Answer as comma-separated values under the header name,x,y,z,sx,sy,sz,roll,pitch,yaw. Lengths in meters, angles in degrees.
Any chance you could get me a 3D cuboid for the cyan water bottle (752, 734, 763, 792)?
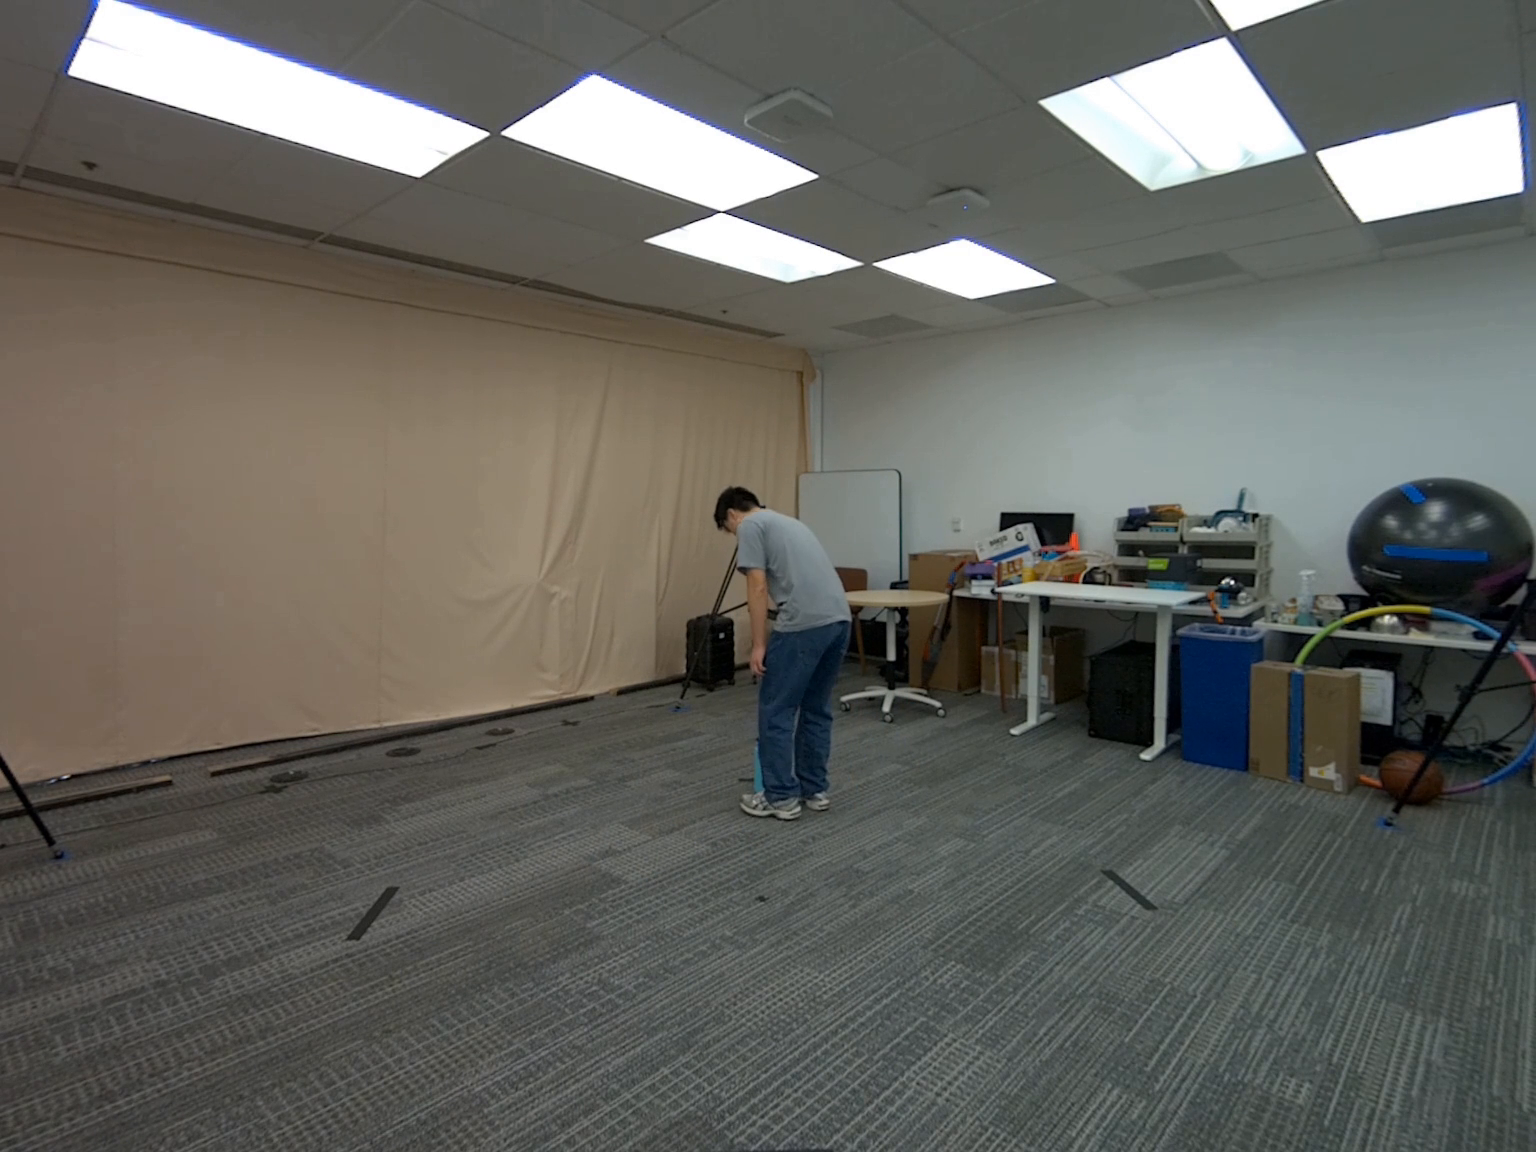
name,x,y,z,sx,sy,sz,roll,pitch,yaw
cyan water bottle,-0.029,0.916,4.106,0.092,0.283,0.092,-1,3,-2
